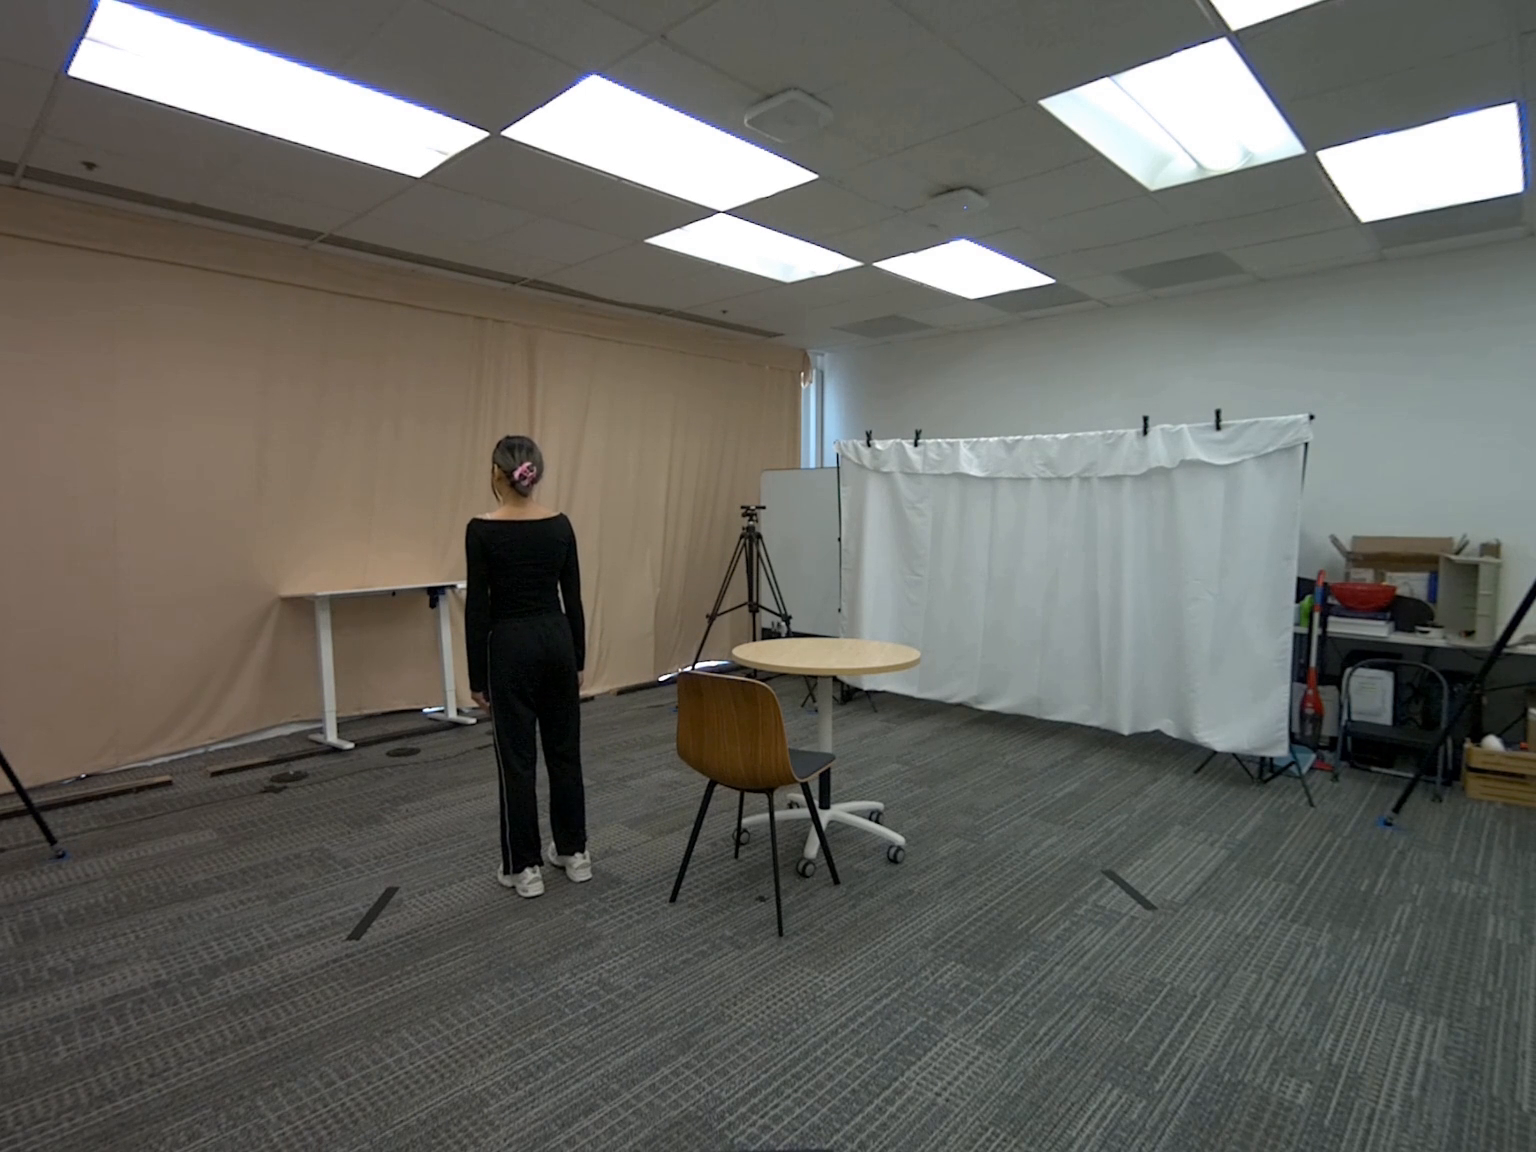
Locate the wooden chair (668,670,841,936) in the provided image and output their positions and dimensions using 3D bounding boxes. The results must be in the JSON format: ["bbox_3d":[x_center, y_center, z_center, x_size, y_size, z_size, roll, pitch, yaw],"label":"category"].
[{"bbox_3d":[-0.036,0.715,3.002,0.492,0.873,0.510,1,8,32],"label":"wooden chair"}]
